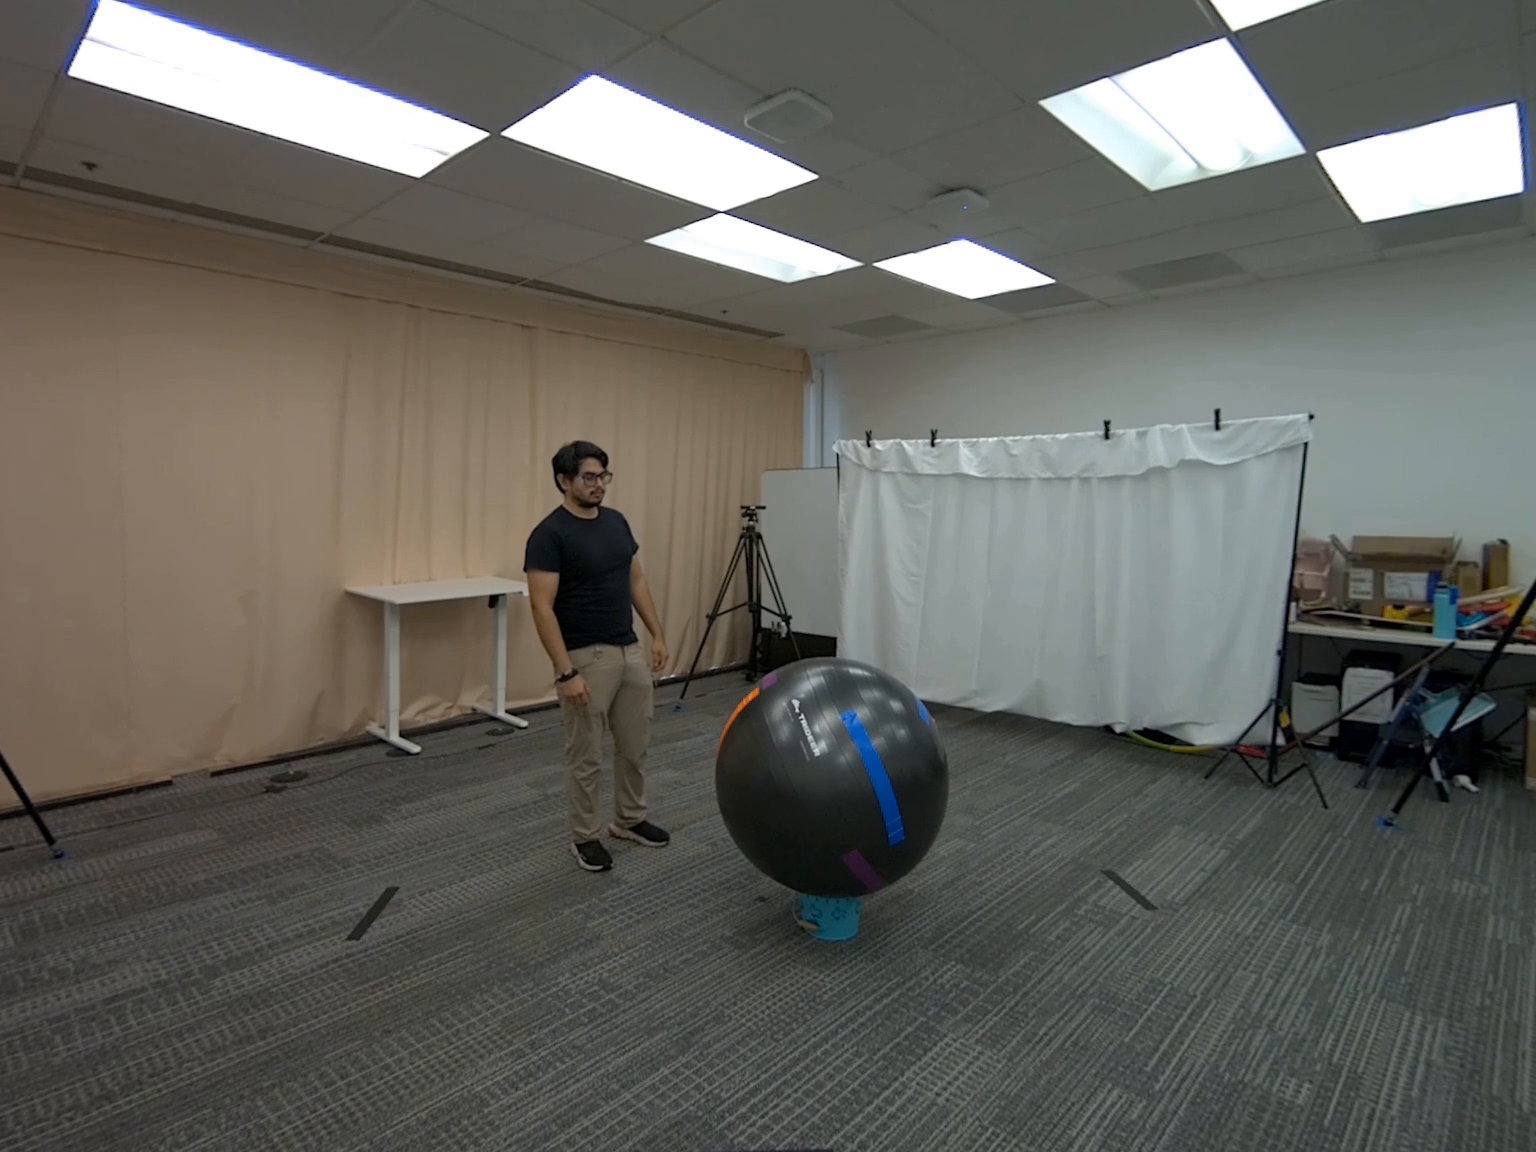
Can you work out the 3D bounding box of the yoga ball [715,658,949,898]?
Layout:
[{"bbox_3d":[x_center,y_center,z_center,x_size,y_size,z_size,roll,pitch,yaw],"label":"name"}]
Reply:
[{"bbox_3d":[0.209,0.655,2.767,0.757,0.756,0.761,0,4,-2],"label":"yoga ball"}]
